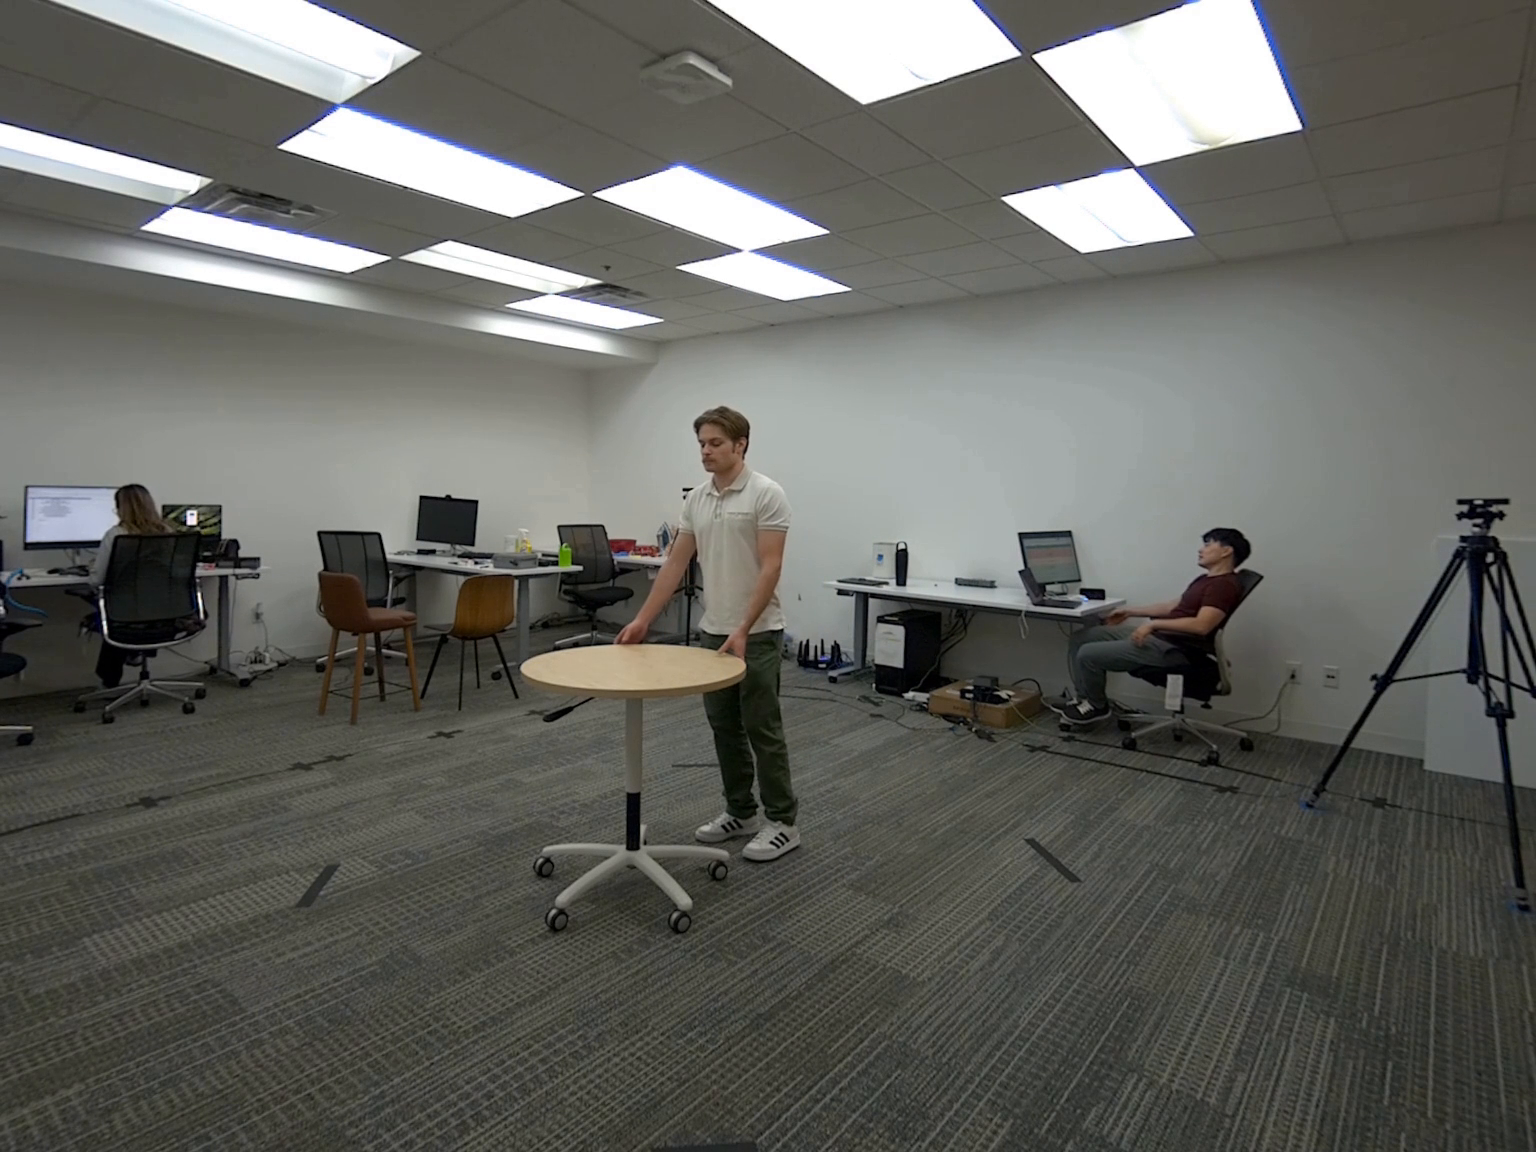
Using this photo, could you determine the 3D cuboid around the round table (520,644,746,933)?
[{"bbox_3d":[-0.474,0.694,2.931,0.763,0.791,0.768,0,4,-2],"label":"round table"}]
